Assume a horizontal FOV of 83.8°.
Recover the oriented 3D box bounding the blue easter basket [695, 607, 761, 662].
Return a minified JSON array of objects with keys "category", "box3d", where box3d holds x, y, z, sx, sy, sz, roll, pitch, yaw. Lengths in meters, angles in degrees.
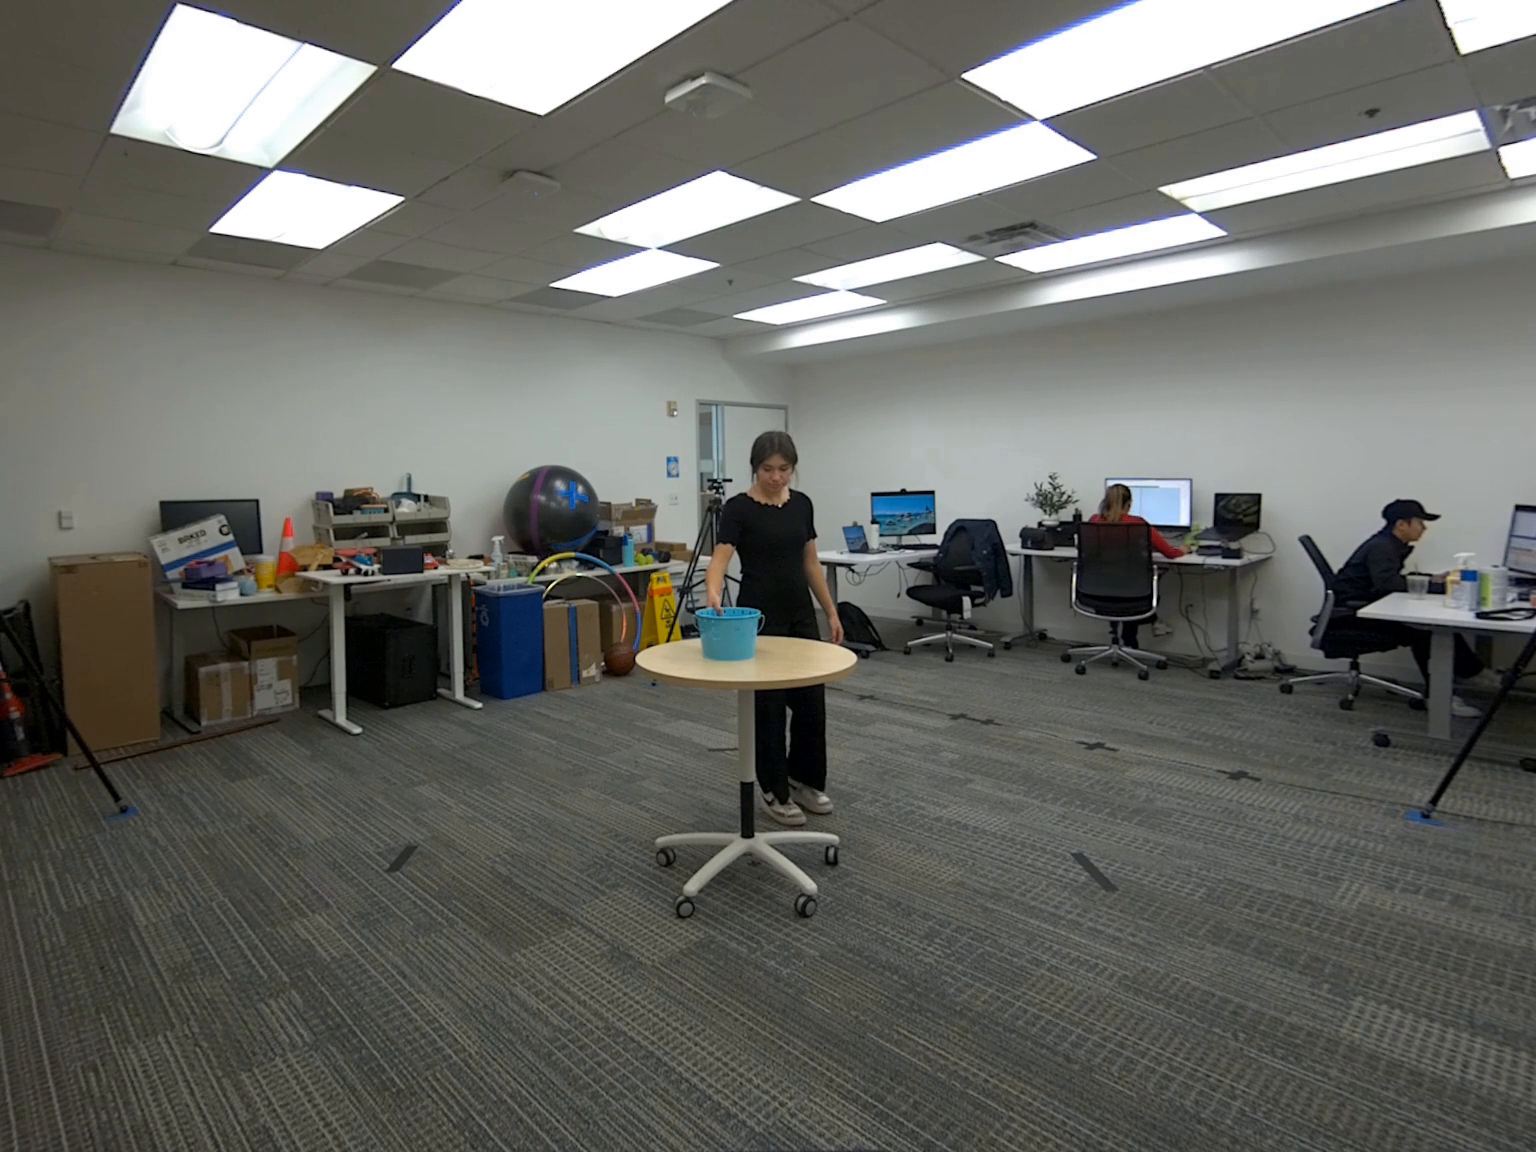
[{"category":"blue easter basket","box3d":[-0.134,0.205,2.977,0.243,0.155,0.244,-2,4,-2]}]
